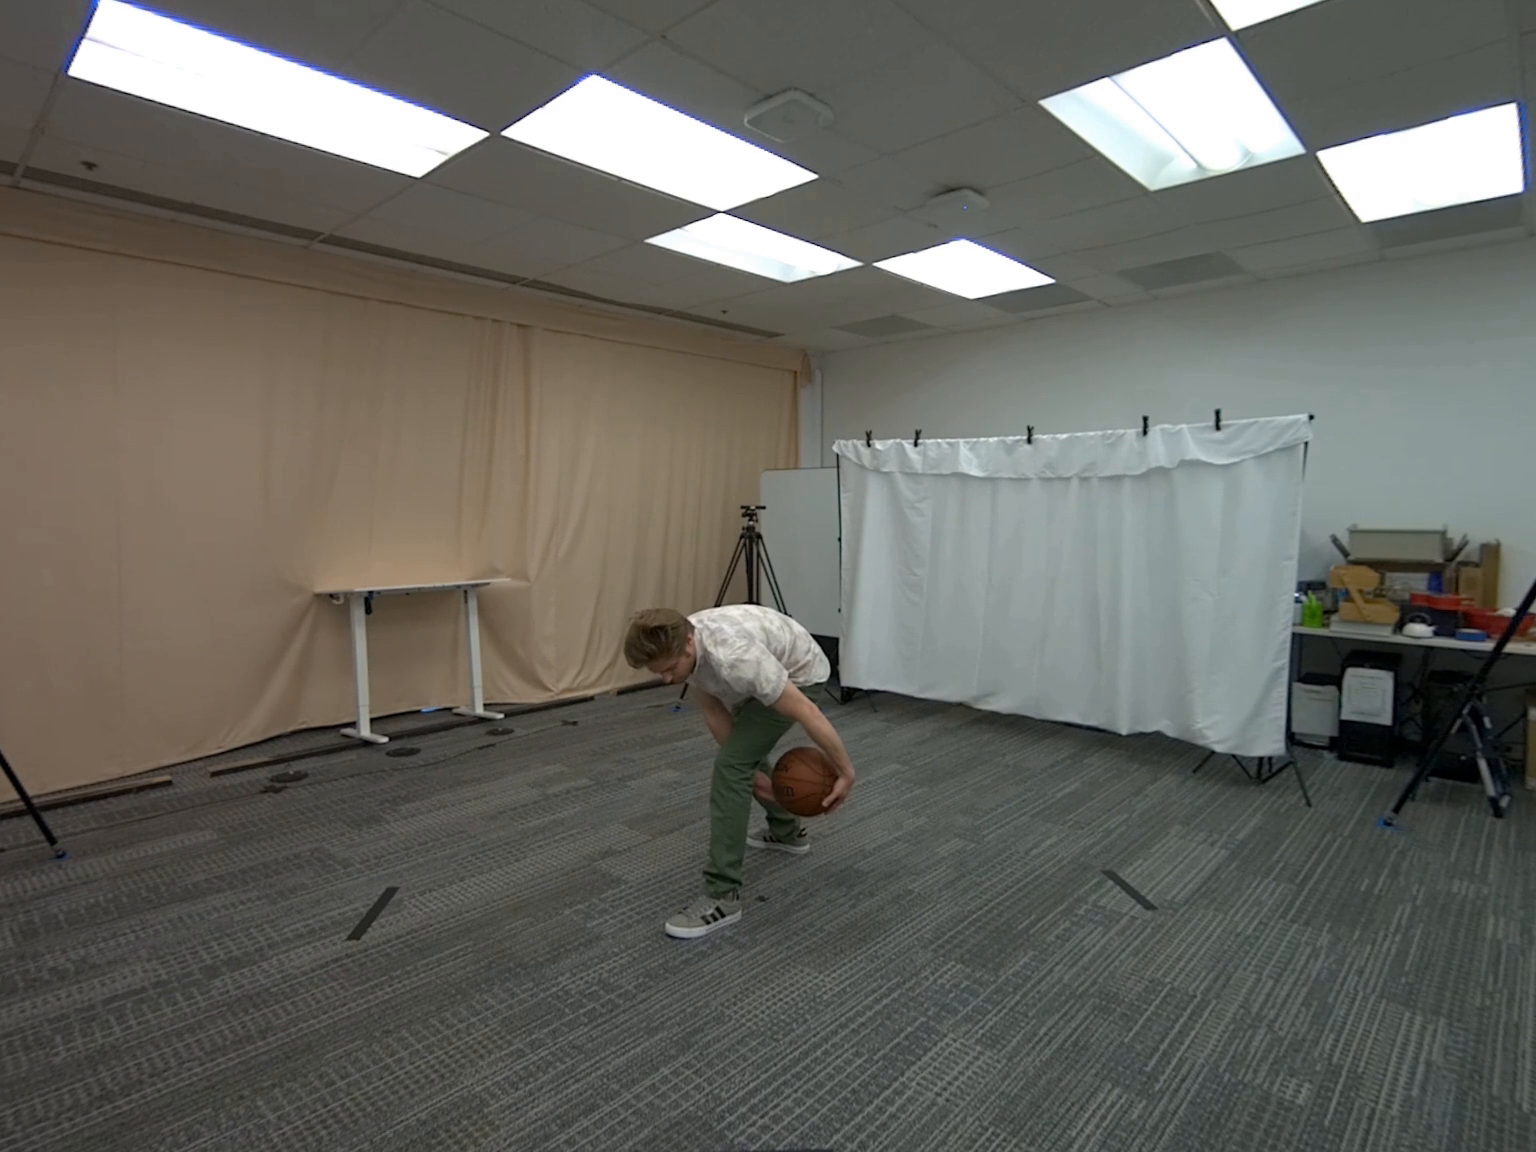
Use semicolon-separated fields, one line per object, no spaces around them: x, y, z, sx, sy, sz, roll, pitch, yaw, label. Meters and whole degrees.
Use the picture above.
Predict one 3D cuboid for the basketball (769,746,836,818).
0.131;0.723;2.948;0.236;0.235;0.237;0;4;-2;basketball
